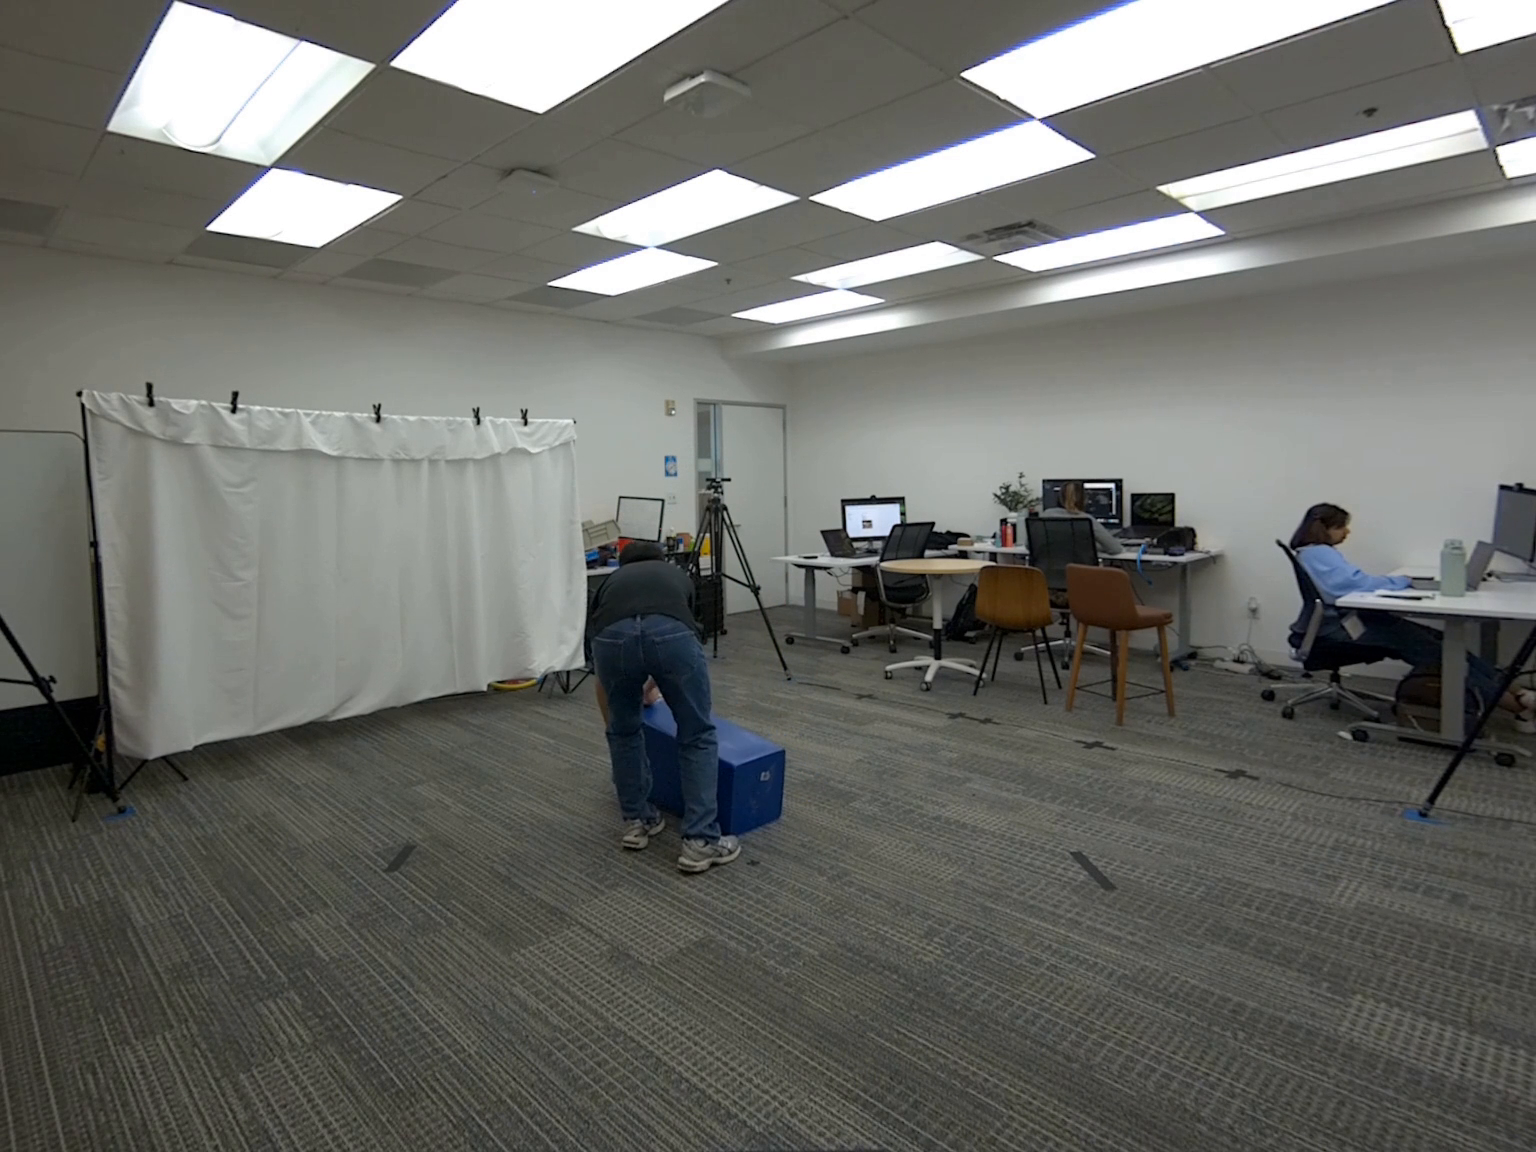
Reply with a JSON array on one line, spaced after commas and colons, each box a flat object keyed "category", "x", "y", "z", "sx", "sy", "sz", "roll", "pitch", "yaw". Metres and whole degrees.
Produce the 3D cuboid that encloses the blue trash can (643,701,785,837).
[{"category": "blue trash can", "x": -0.290, "y": 0.785, "z": 3.633, "sx": 0.738, "sy": 0.371, "sz": 0.368, "roll": 12, "pitch": 12, "yaw": 42}]
